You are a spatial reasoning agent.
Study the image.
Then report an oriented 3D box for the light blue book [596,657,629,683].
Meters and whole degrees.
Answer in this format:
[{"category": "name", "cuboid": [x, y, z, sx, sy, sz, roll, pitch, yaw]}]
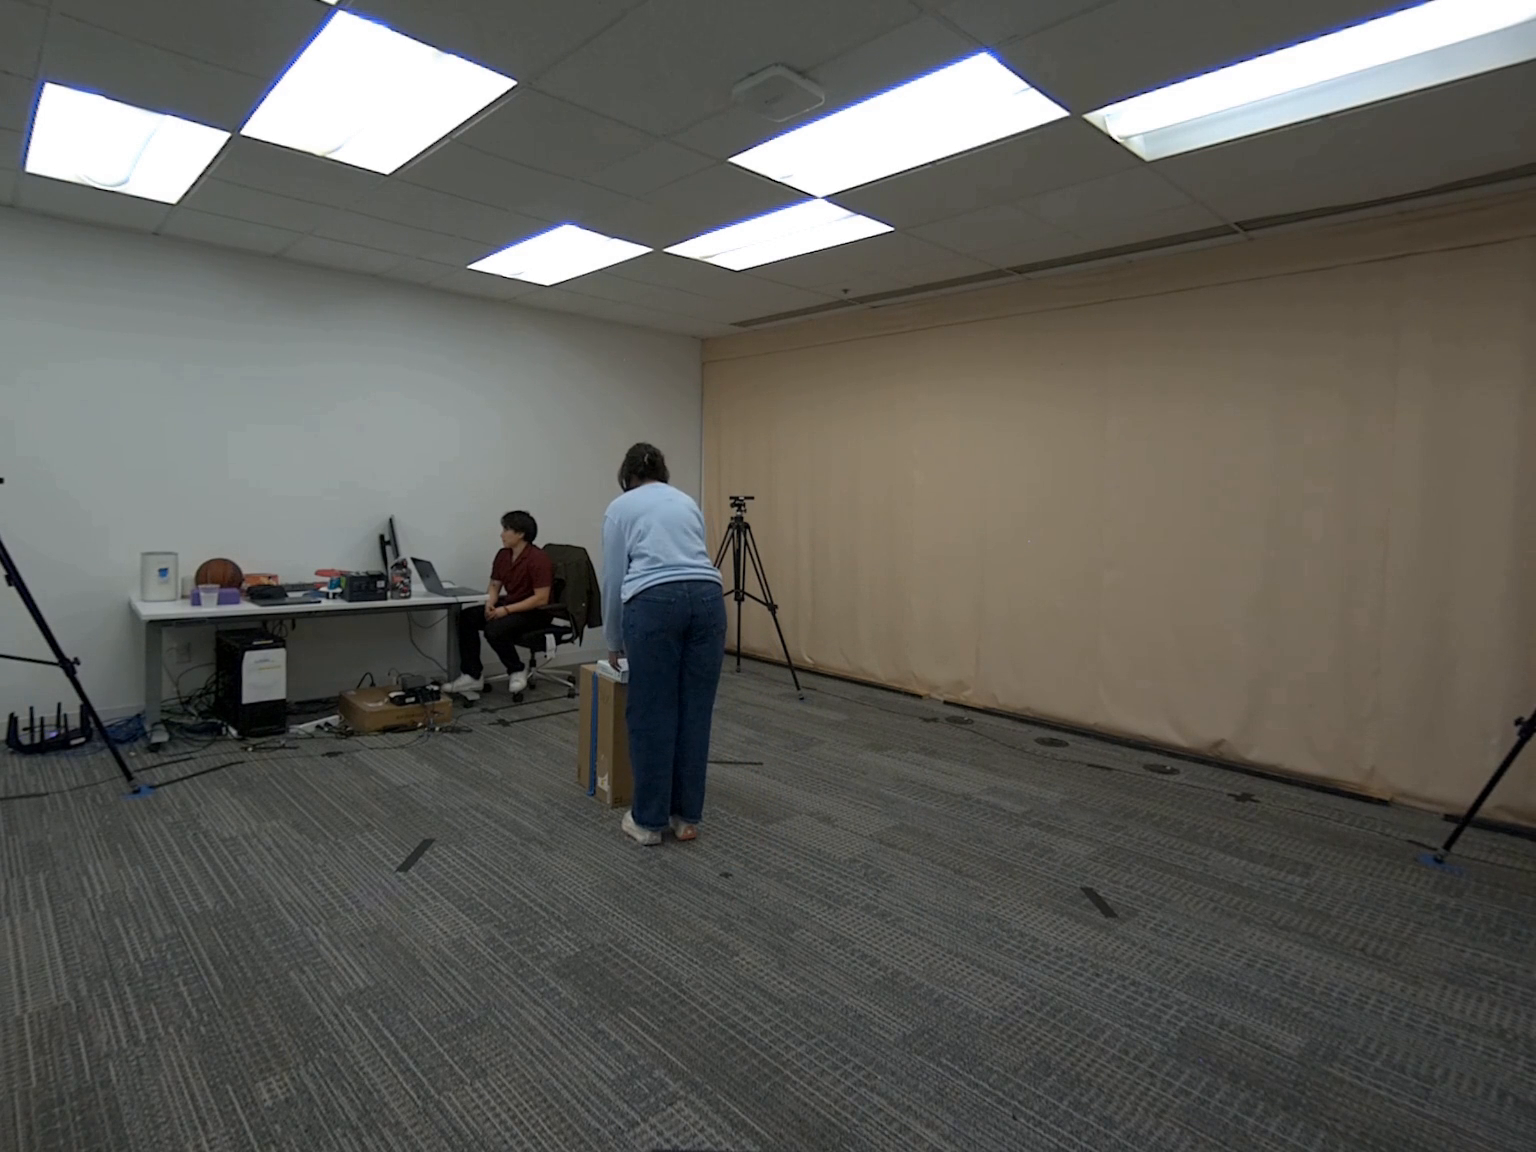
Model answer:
[{"category": "light blue book", "cuboid": [-0.643, 0.430, 3.854, 0.187, 0.059, 0.267, 0, 5, -35]}]
